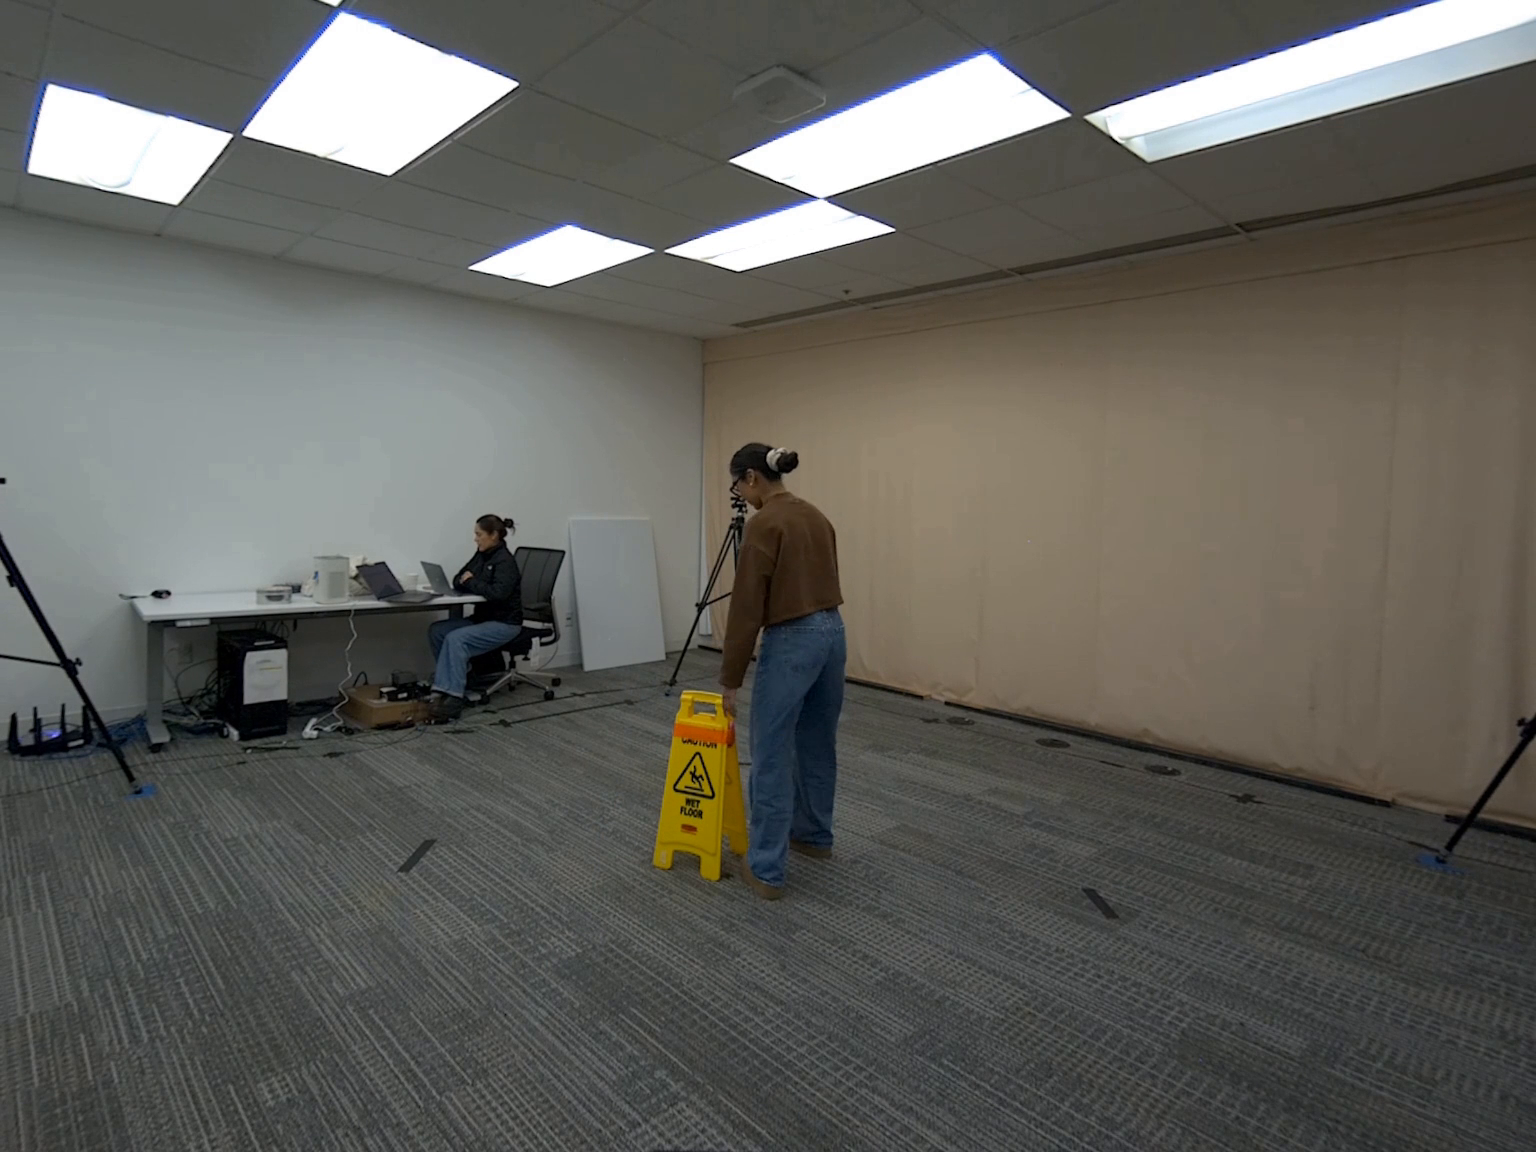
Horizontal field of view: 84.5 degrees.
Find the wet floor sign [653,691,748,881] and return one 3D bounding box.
[{"bbox_3d":[-0.251,0.765,3.226,0.287,0.645,0.285,3,3,23],"label":"wet floor sign"}]
